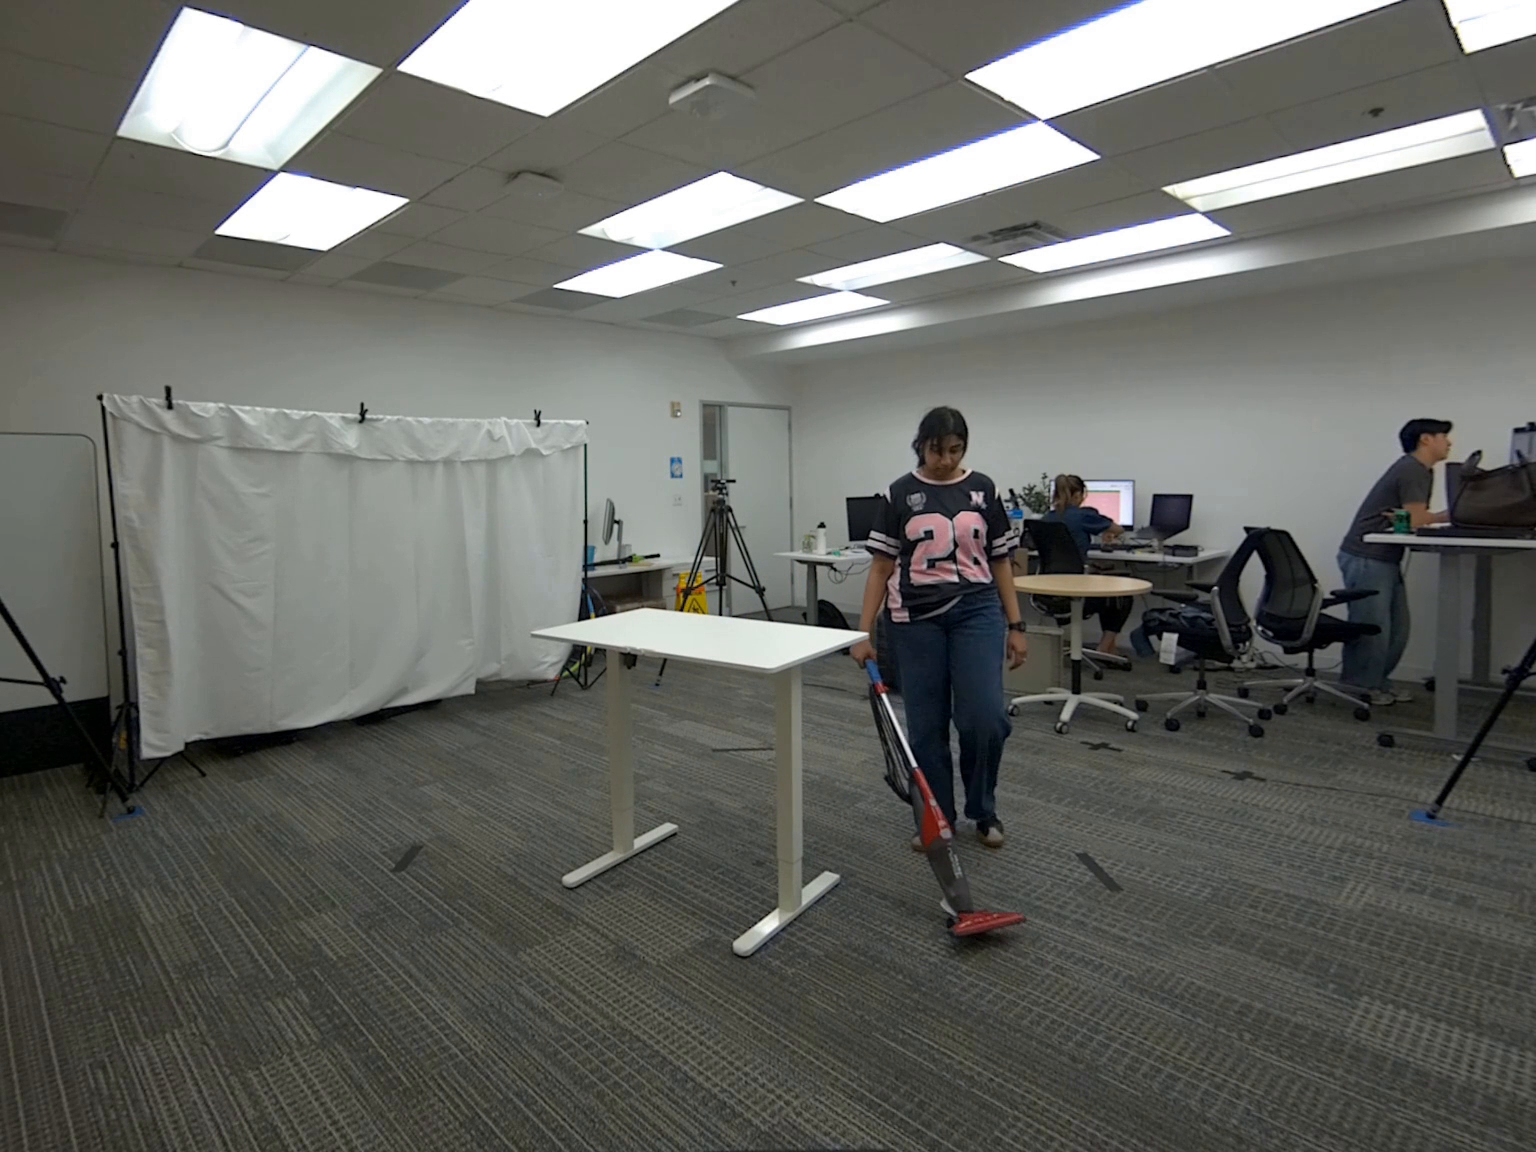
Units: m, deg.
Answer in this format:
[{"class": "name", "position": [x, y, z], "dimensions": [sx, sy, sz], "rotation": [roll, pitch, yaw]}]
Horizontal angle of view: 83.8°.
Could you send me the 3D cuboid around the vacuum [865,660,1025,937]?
[{"class": "vacuum", "position": [0.483, 0.687, 2.907], "dimensions": [0.247, 0.142, 1.087], "rotation": [-3, 46, -23]}]
